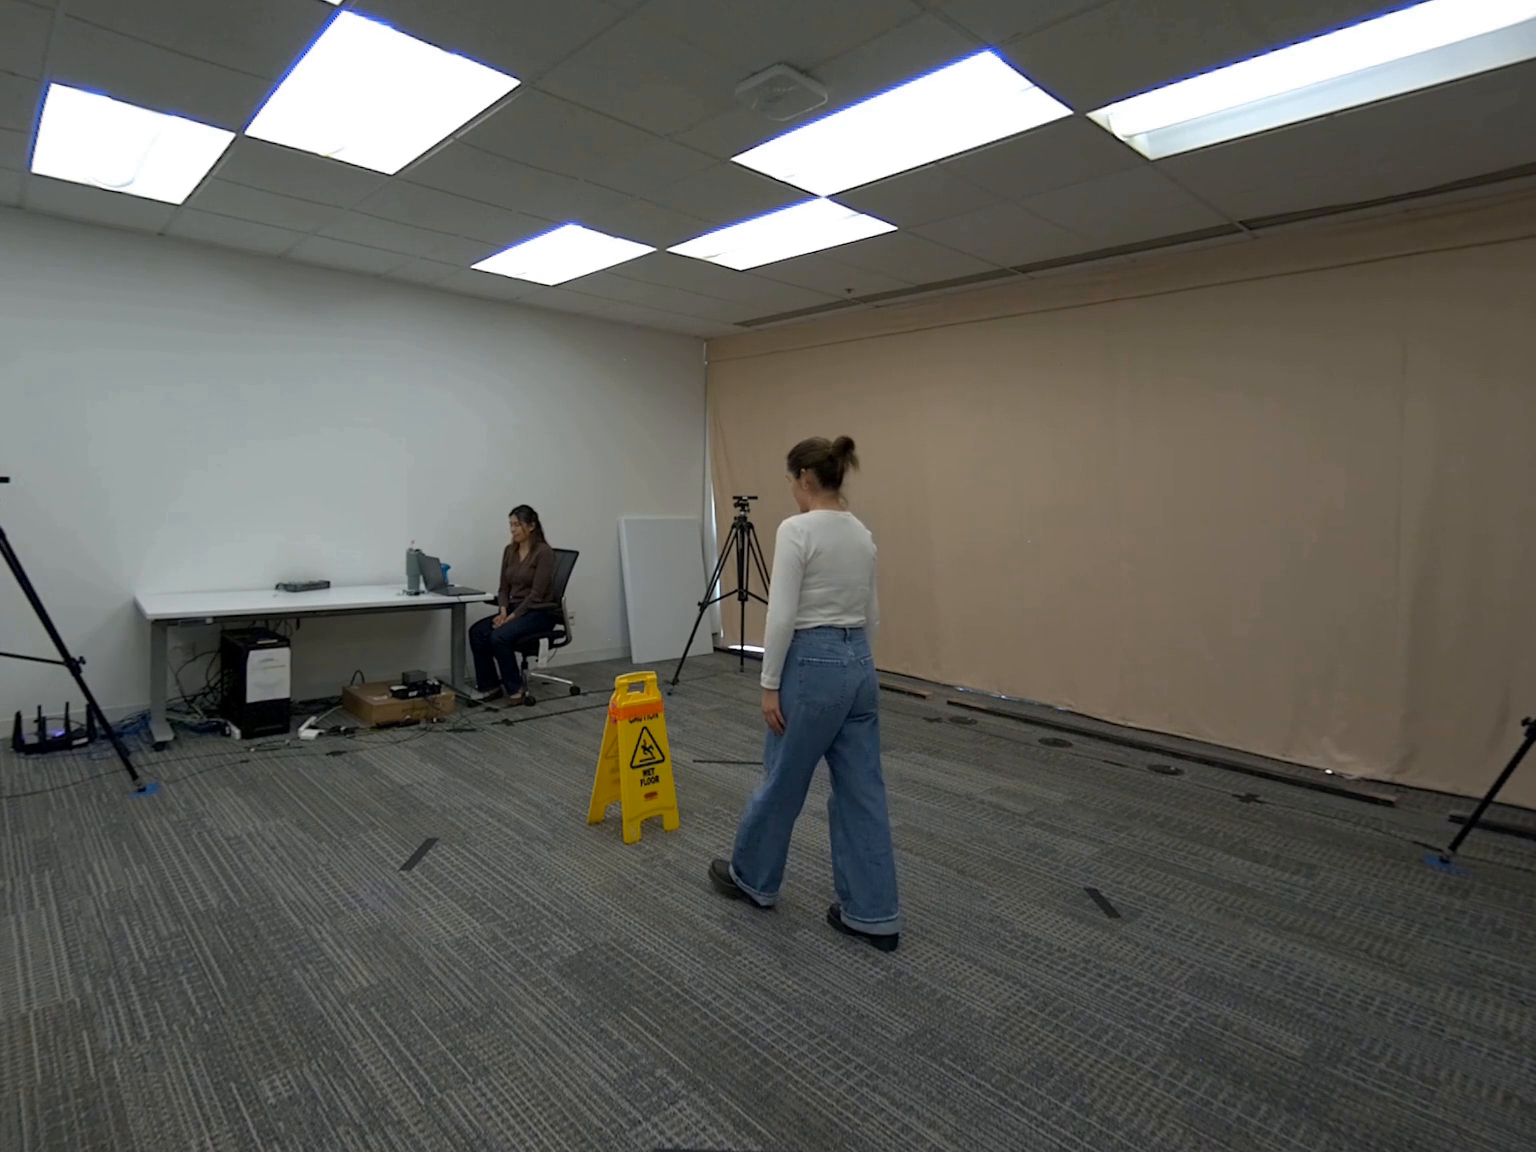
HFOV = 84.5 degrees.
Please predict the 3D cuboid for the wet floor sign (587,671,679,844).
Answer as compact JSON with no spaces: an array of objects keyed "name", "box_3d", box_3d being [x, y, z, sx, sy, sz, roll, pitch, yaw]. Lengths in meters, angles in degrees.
[{"name":"wet floor sign","box_3d":[-0.569,0.732,3.535,0.275,0.645,0.297,-1,3,-45]}]
